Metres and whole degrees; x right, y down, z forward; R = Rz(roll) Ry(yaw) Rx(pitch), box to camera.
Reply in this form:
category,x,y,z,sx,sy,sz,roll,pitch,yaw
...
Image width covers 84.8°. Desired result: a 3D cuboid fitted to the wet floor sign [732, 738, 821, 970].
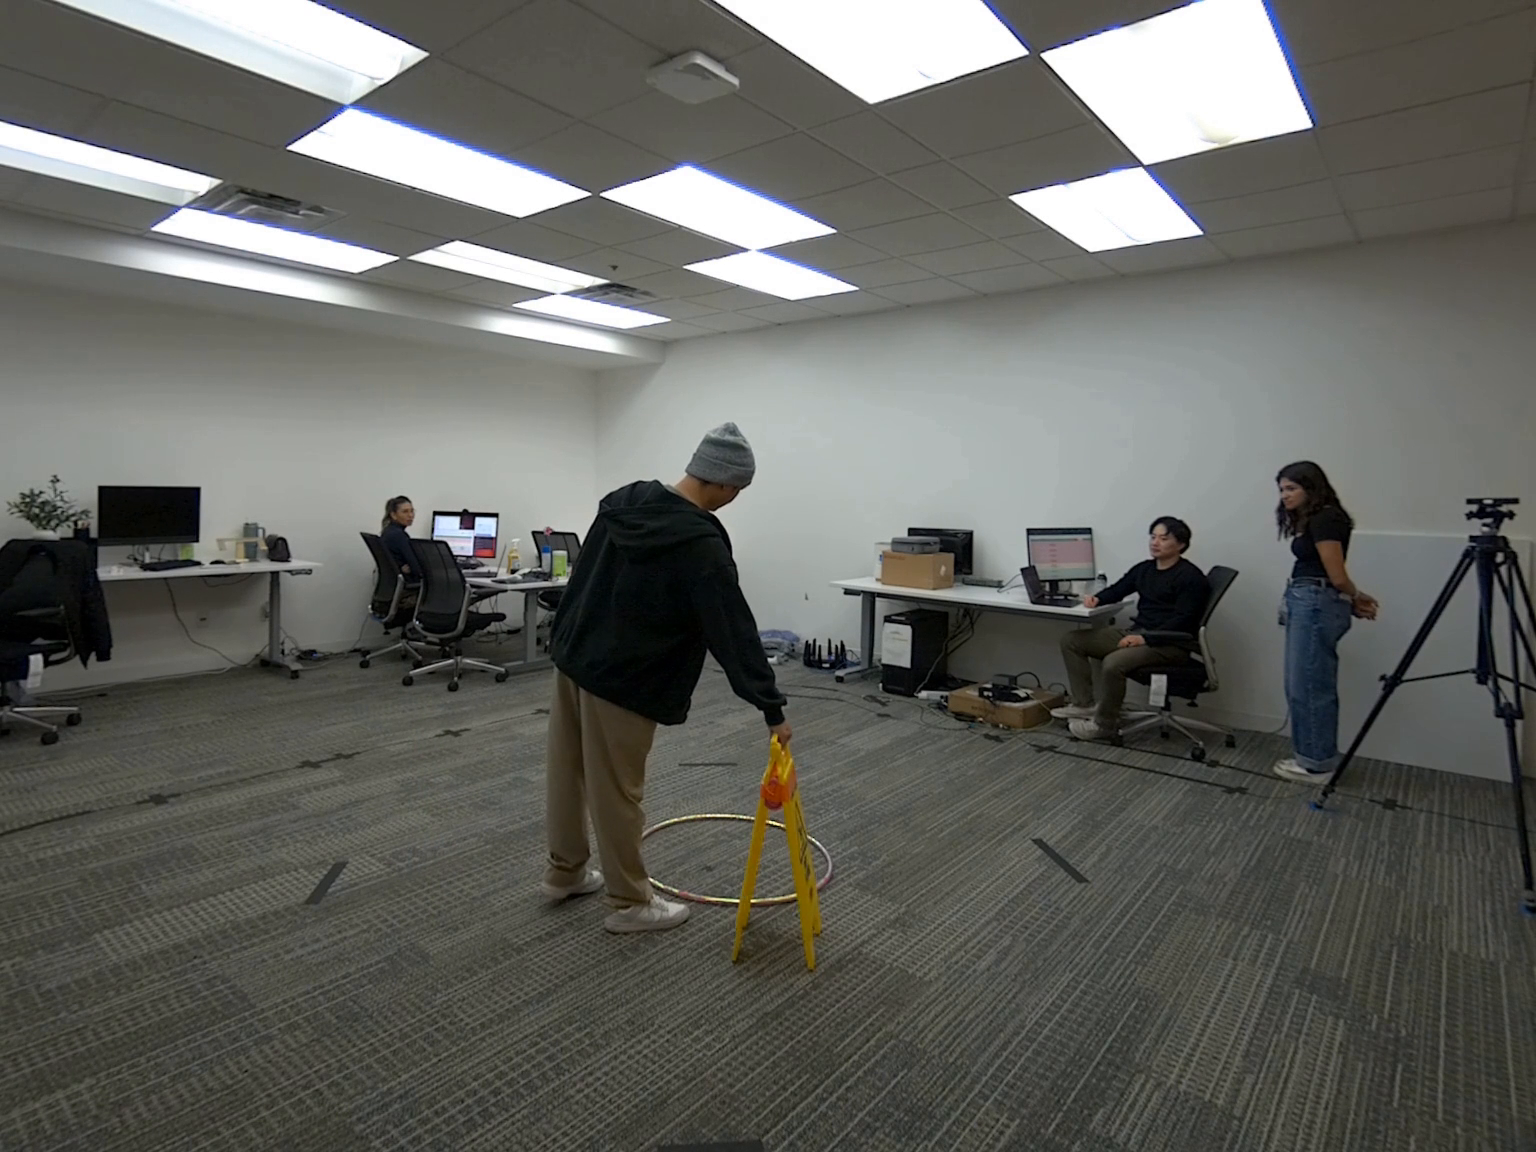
category,x,y,z,sx,sy,sz,roll,pitch,yaw
wet floor sign,0.015,0.796,2.585,0.293,0.645,0.280,0,2,9
